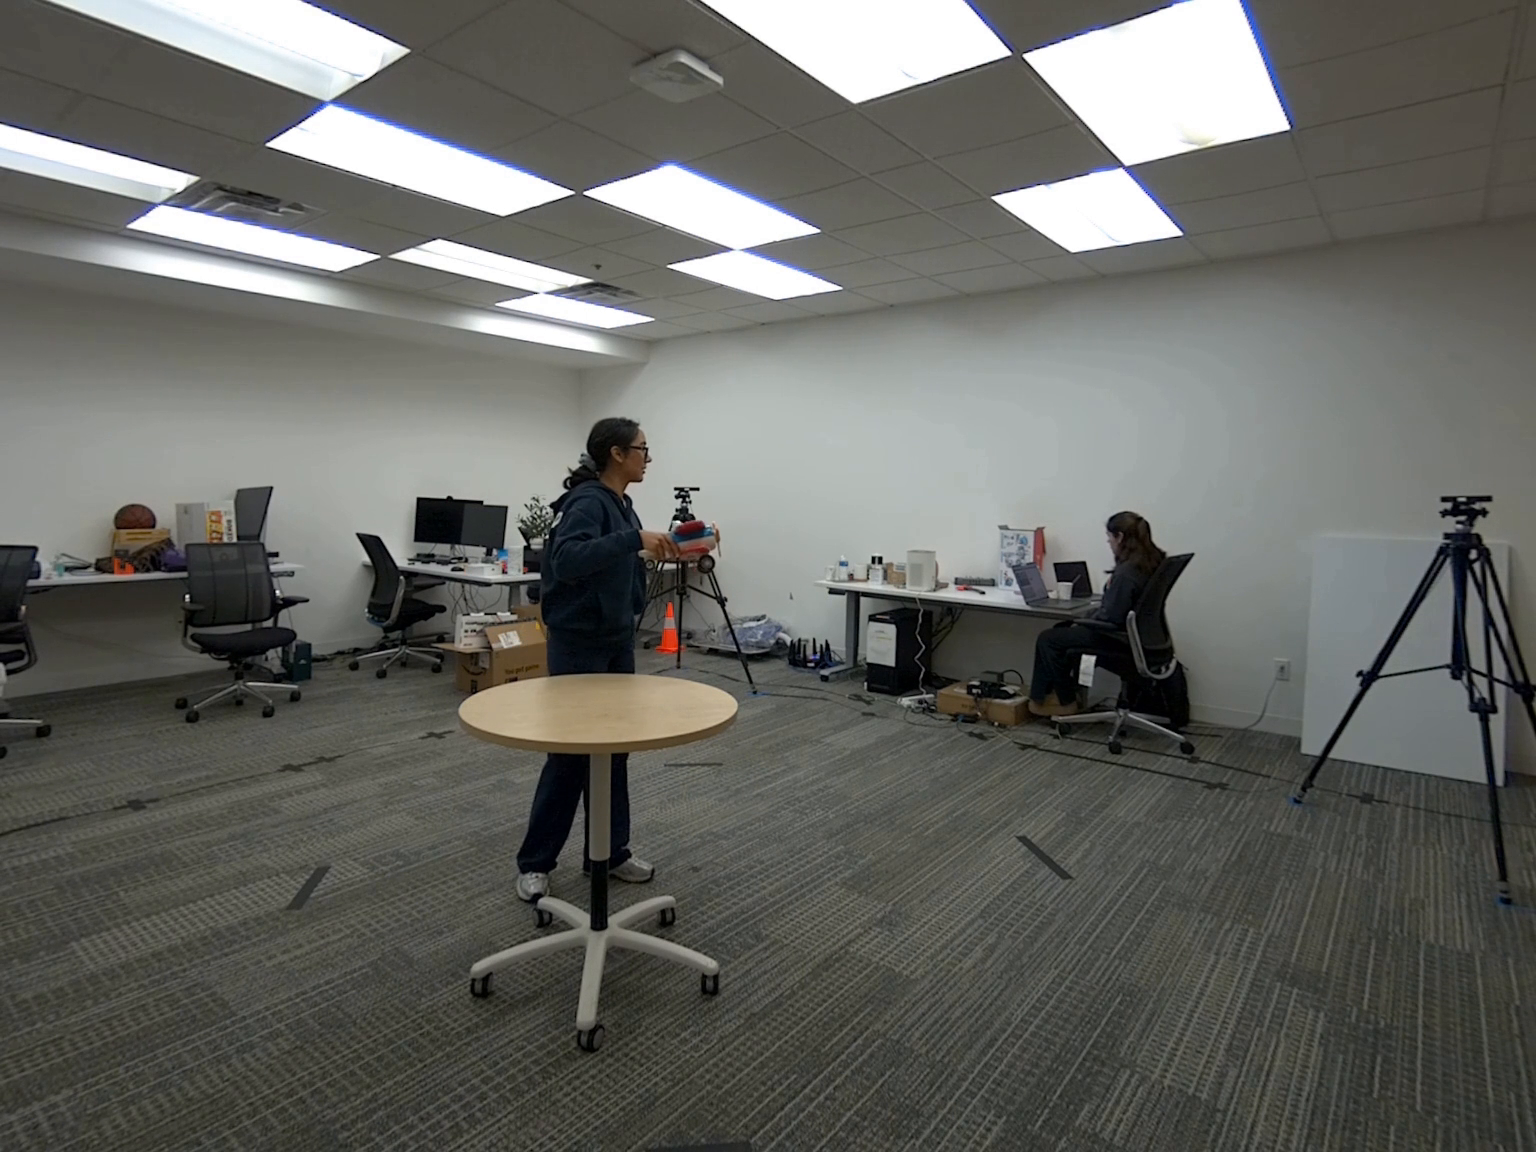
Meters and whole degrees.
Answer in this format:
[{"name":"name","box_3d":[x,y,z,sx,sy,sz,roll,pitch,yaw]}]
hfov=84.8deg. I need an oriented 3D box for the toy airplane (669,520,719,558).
[{"name":"toy airplane","box_3d":[-0.288,-0.090,2.646,0.252,0.157,0.257,4,-4,-28]}]
